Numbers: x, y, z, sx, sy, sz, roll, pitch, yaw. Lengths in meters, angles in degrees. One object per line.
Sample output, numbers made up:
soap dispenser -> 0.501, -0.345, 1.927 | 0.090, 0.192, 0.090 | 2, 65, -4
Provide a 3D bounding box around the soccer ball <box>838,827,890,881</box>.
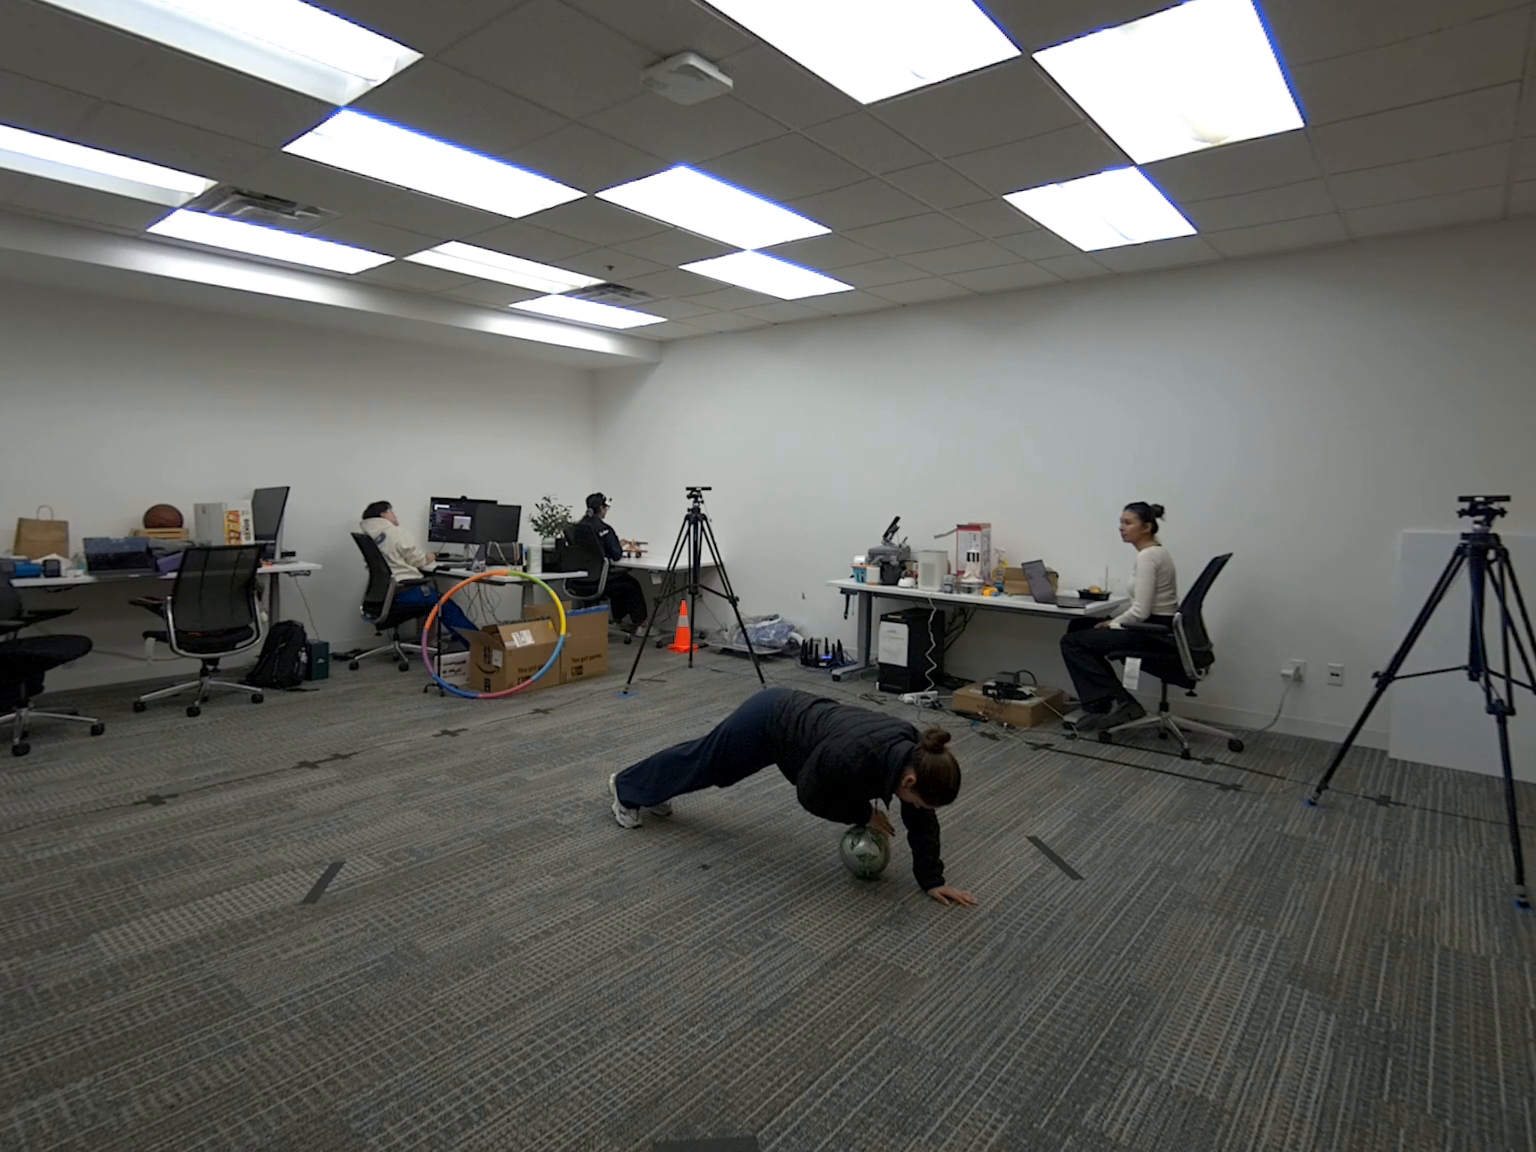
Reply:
soccer ball -> 0.346, 0.988, 3.076 | 0.187, 0.187, 0.188 | 1, 4, -2
